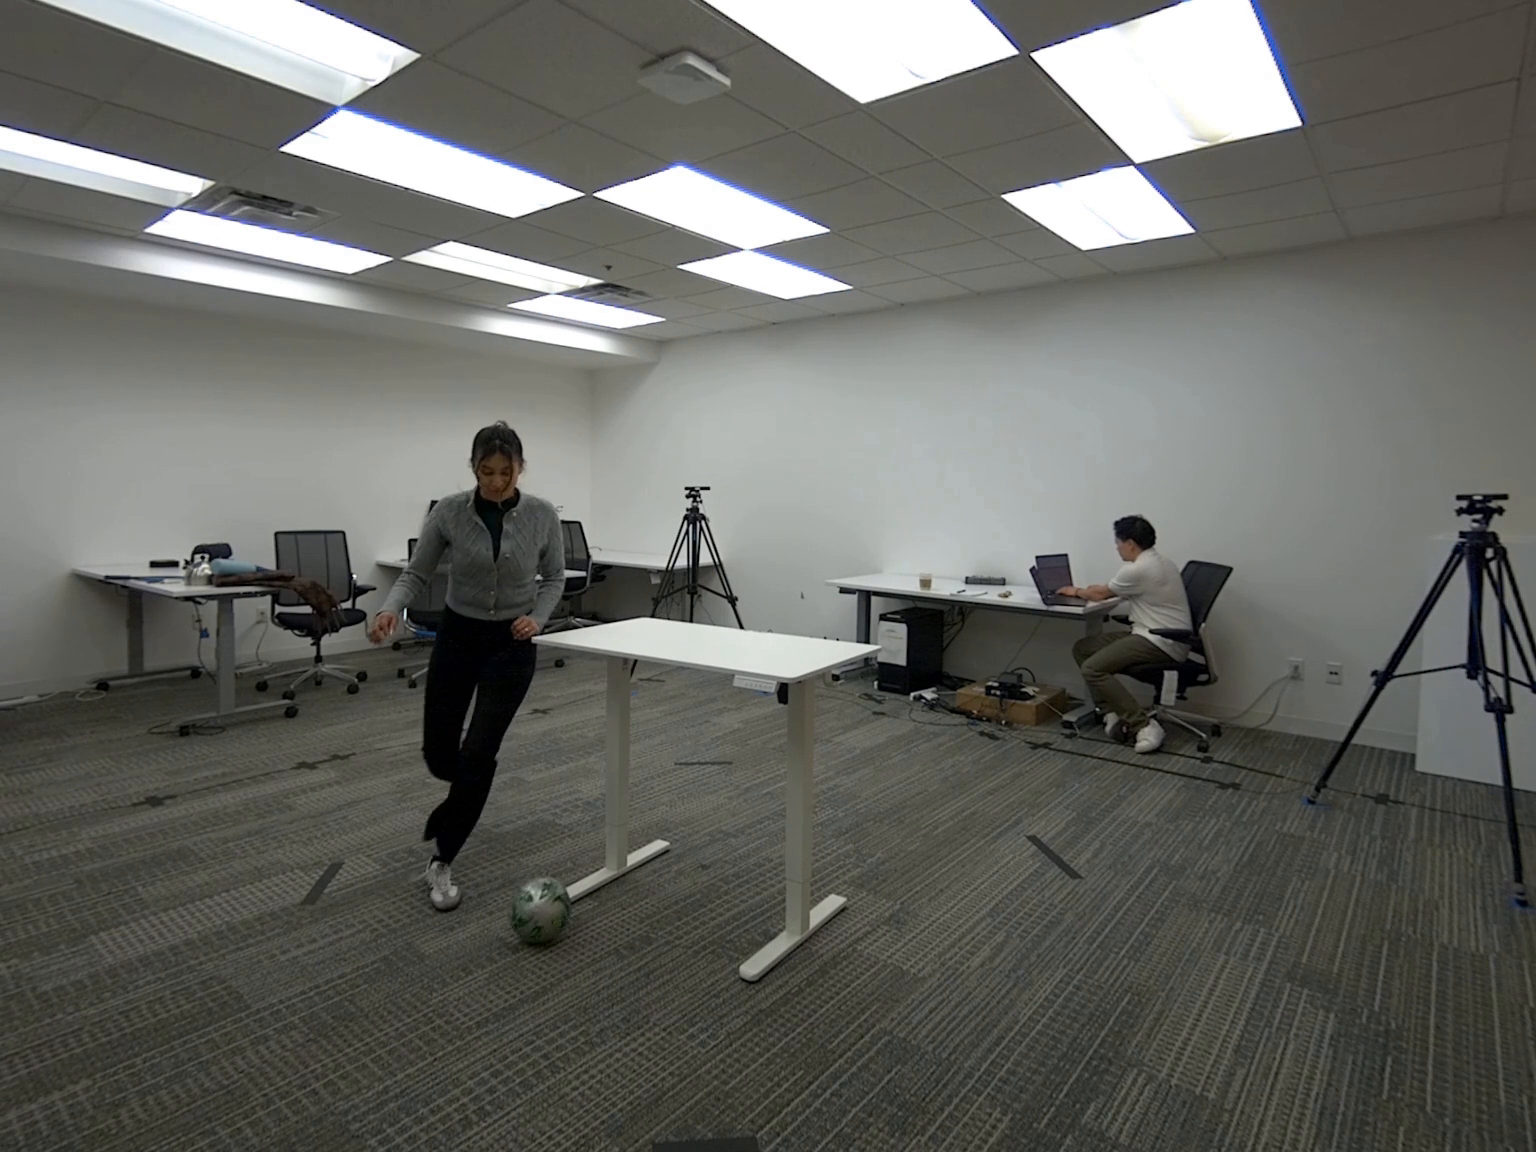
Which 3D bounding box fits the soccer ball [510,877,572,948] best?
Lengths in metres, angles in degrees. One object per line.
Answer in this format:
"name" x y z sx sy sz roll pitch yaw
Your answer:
"soccer ball" -0.702 1.020 2.599 0.187 0.187 0.188 0 4 -2
